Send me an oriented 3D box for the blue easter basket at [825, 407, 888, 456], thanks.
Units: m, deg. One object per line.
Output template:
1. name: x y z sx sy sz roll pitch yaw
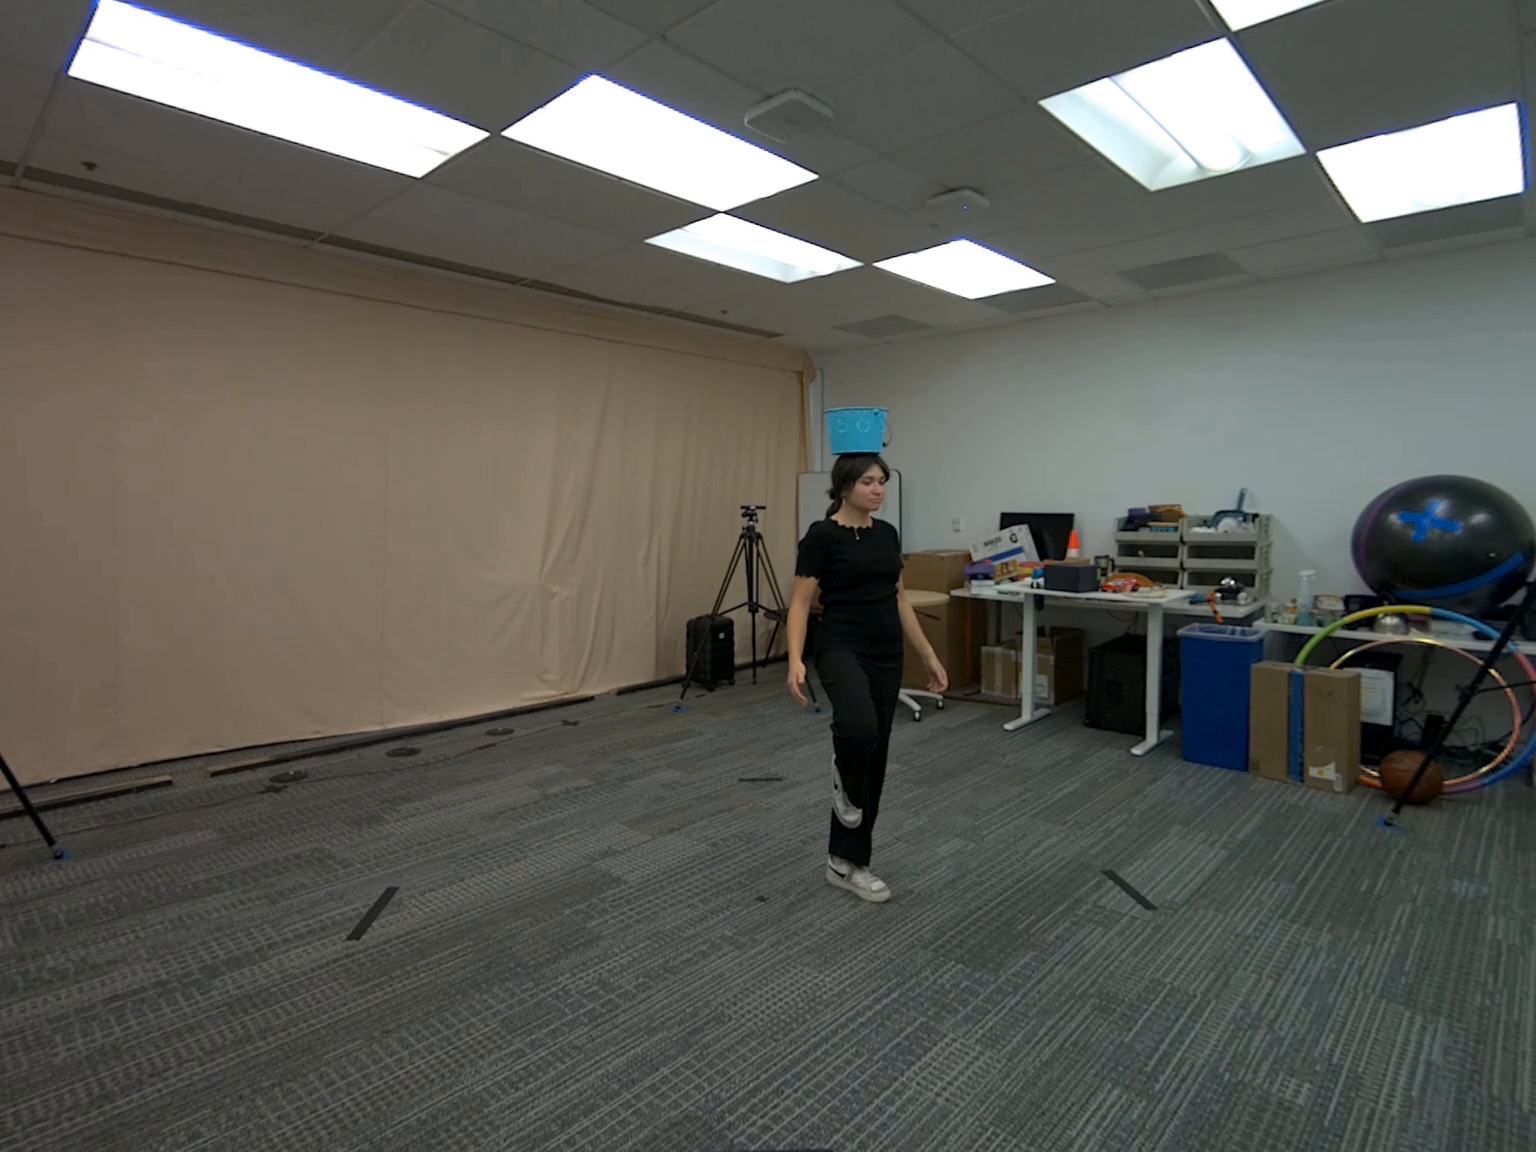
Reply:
1. blue easter basket: 0.329 -0.519 3.034 0.243 0.155 0.244 0 3 -2
